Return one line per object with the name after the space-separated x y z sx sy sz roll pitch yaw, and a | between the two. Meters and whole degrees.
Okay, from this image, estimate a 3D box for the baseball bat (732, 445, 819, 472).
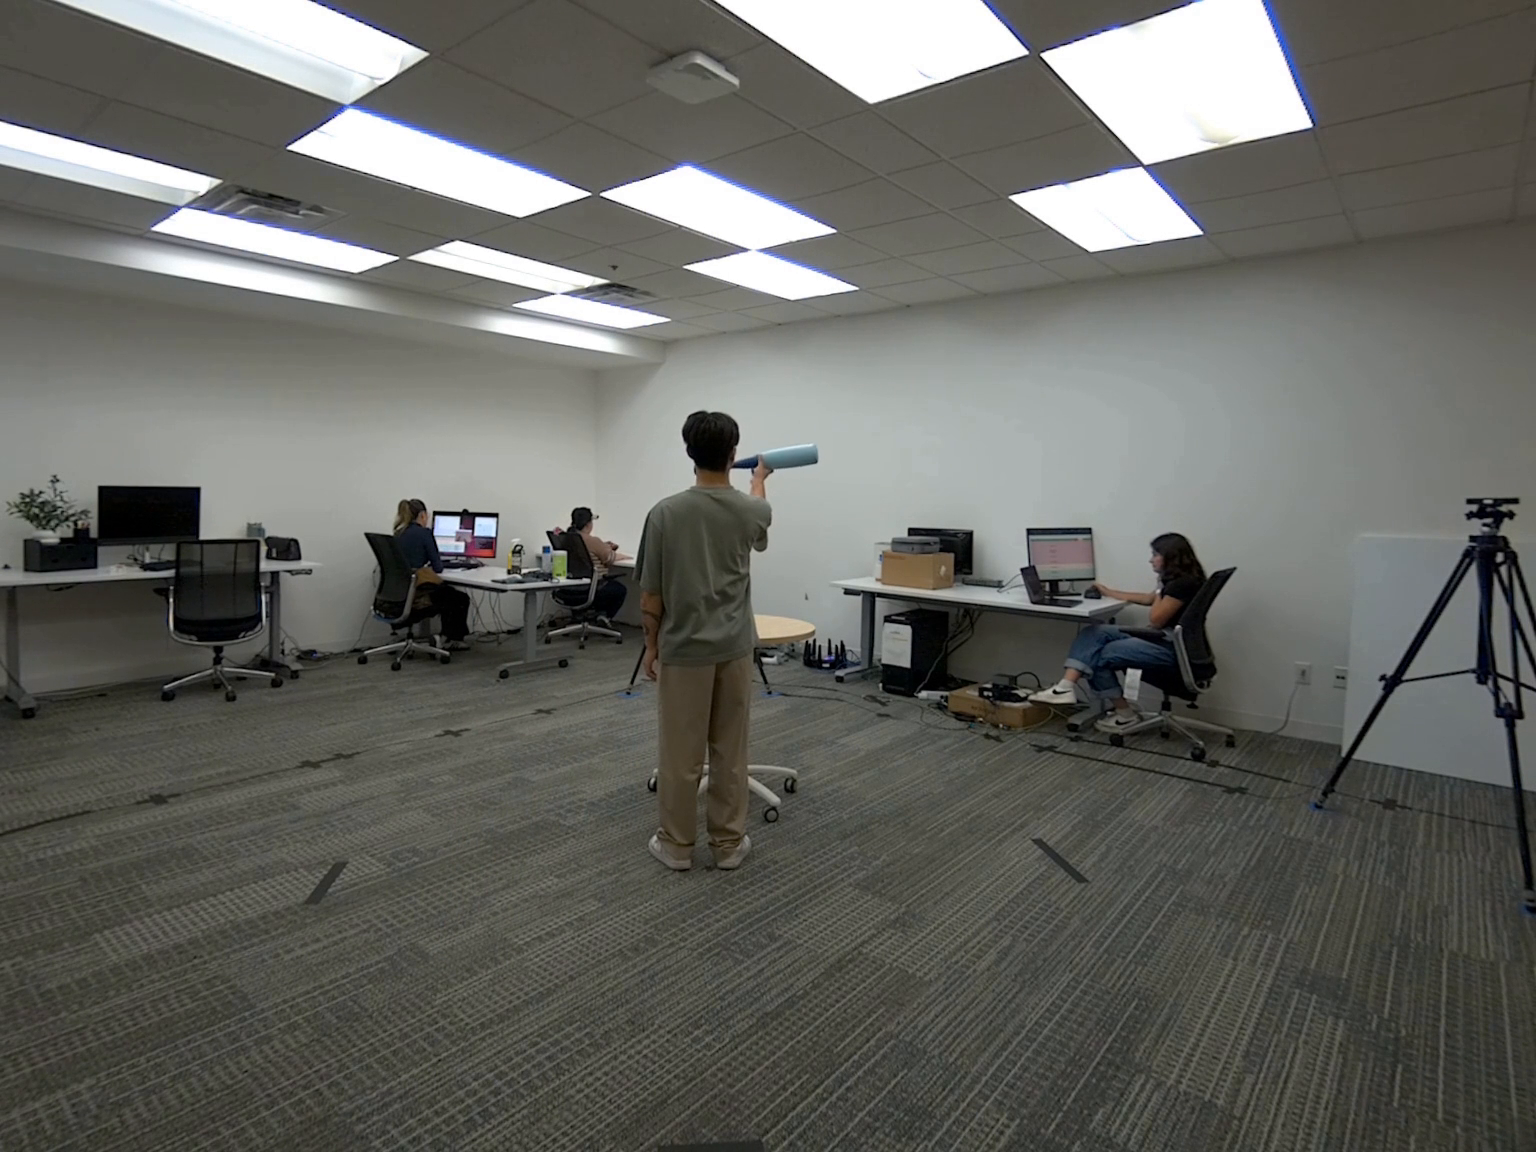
-0.069 -0.494 3.676 0.548 0.089 0.088 -7 3 10 | baseball bat
